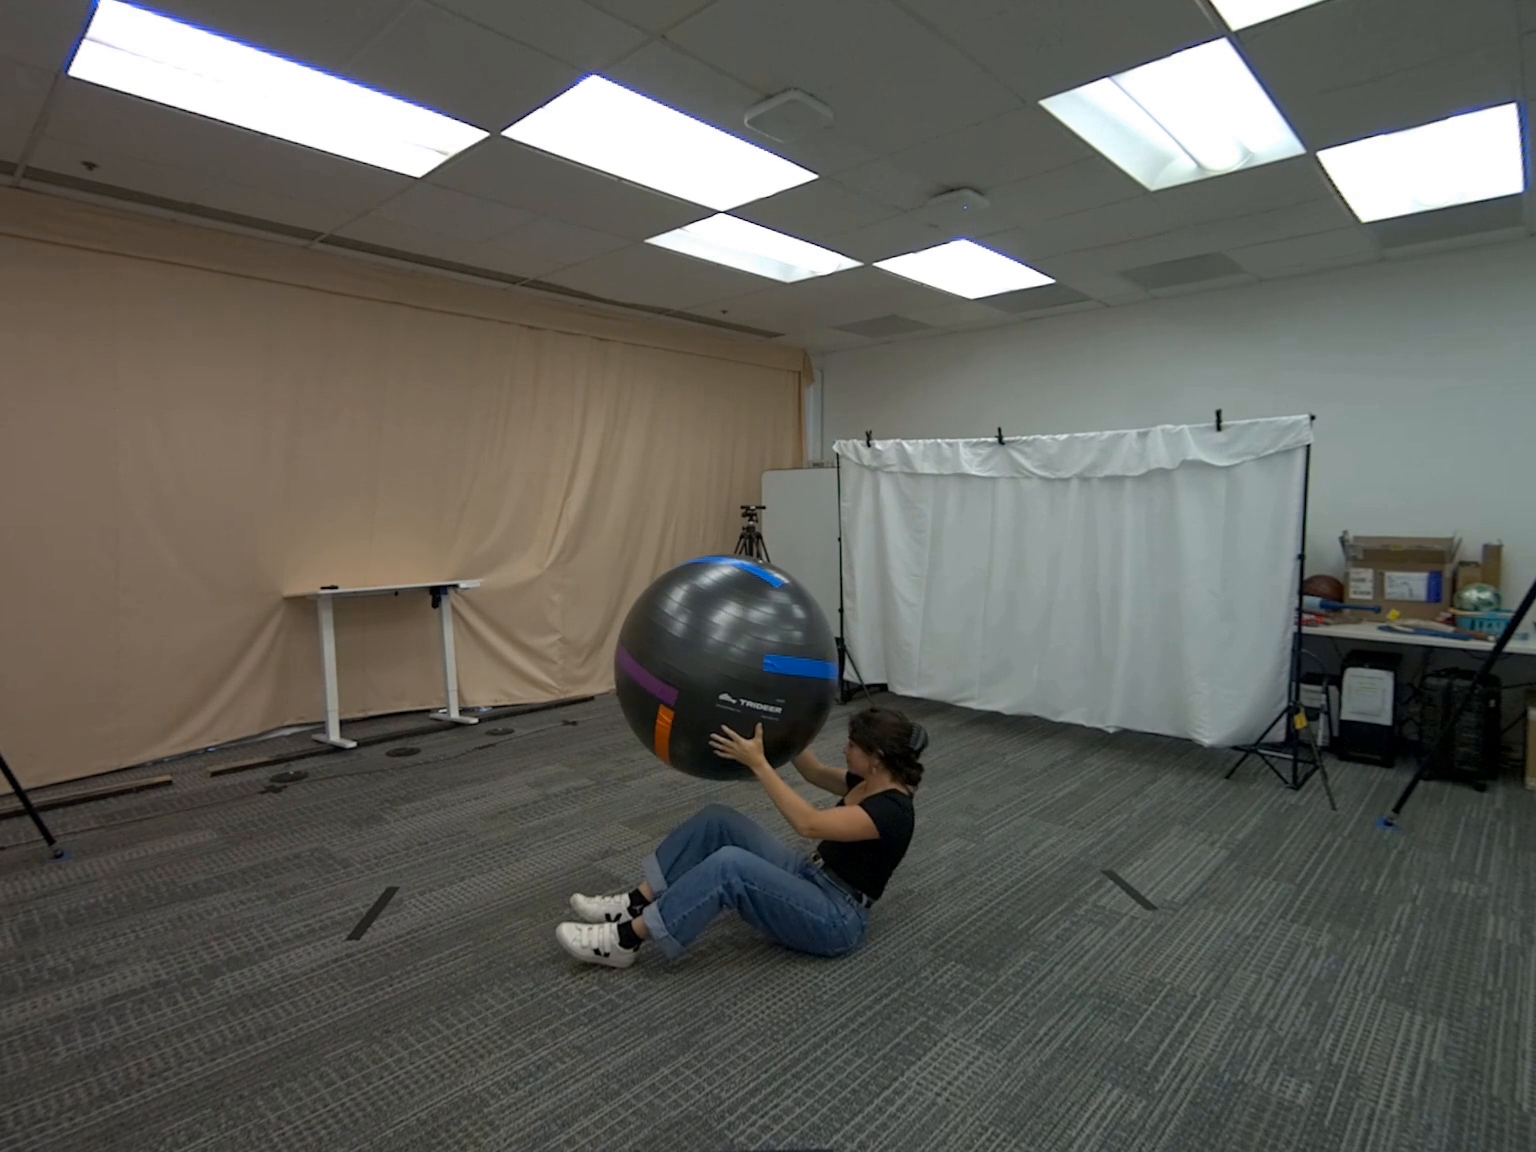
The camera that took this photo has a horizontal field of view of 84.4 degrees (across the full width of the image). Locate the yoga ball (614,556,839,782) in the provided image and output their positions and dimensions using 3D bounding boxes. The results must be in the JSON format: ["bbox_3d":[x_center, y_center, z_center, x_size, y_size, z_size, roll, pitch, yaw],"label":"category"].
[{"bbox_3d":[-0.133,0.317,2.846,0.757,0.756,0.761,0,4,-2],"label":"yoga ball"}]
